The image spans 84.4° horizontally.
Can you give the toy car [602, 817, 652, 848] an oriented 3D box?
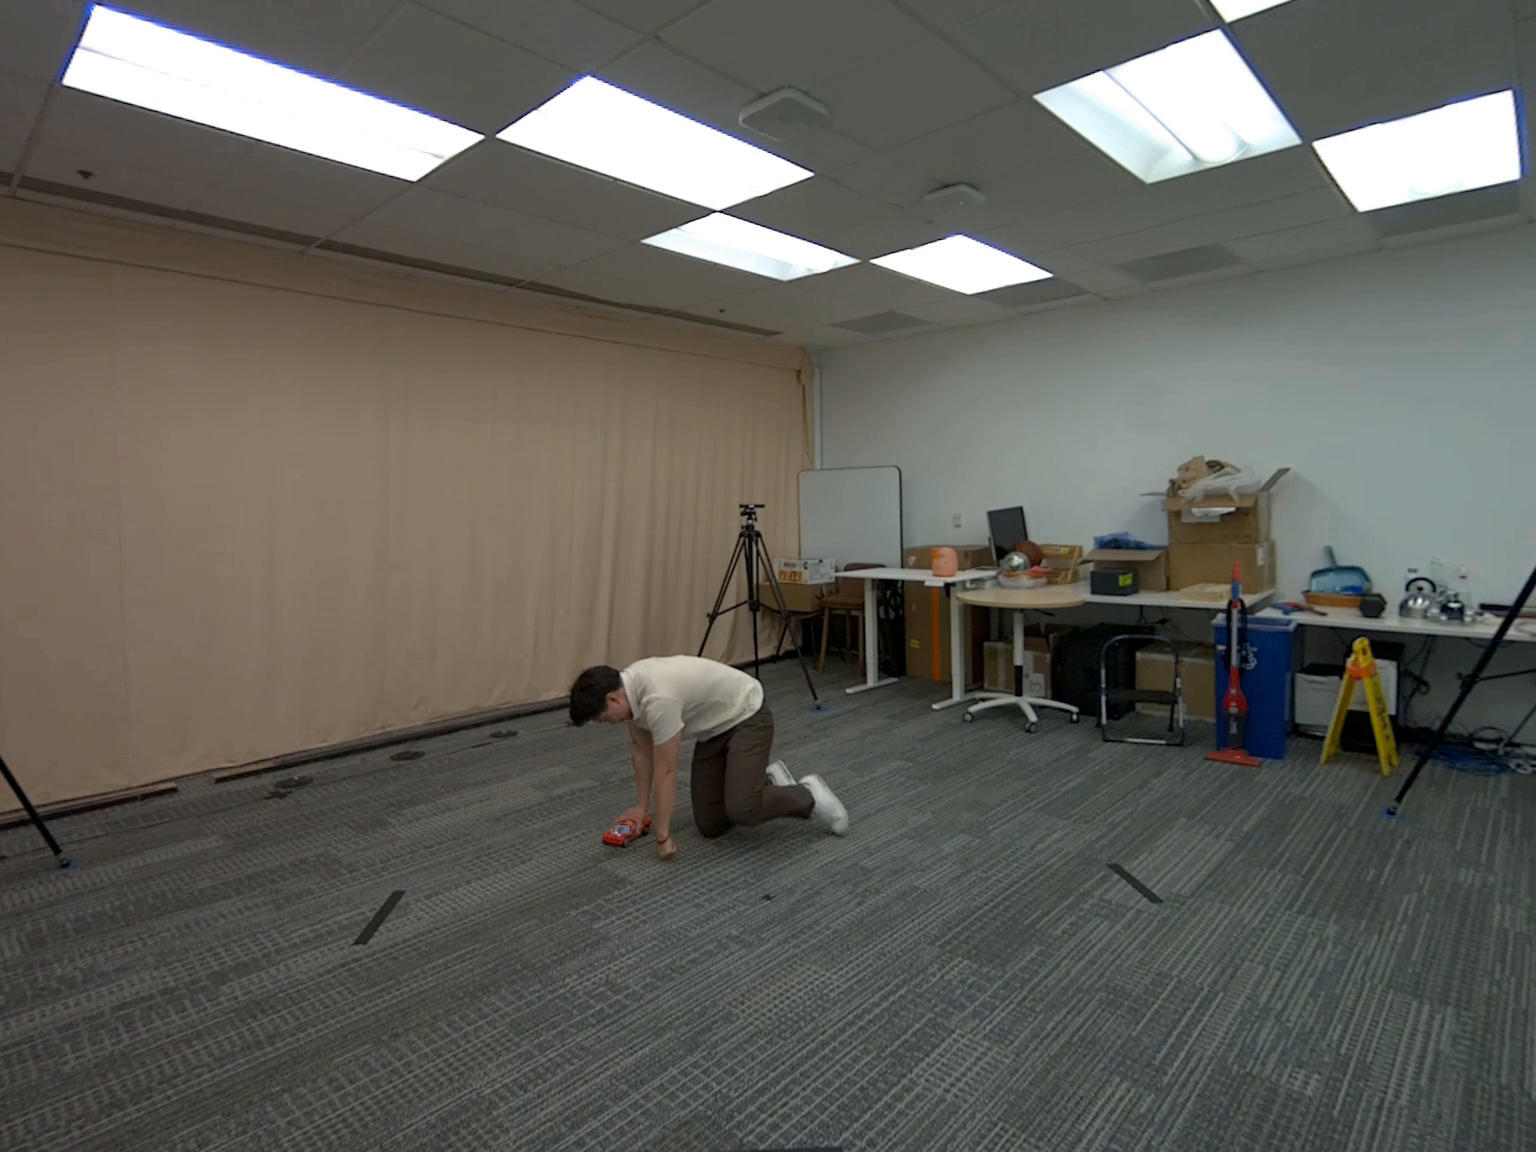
[{"bbox_3d":[-0.588,1.080,3.564,0.134,0.082,0.250,-1,14,27],"label":"toy car"}]
